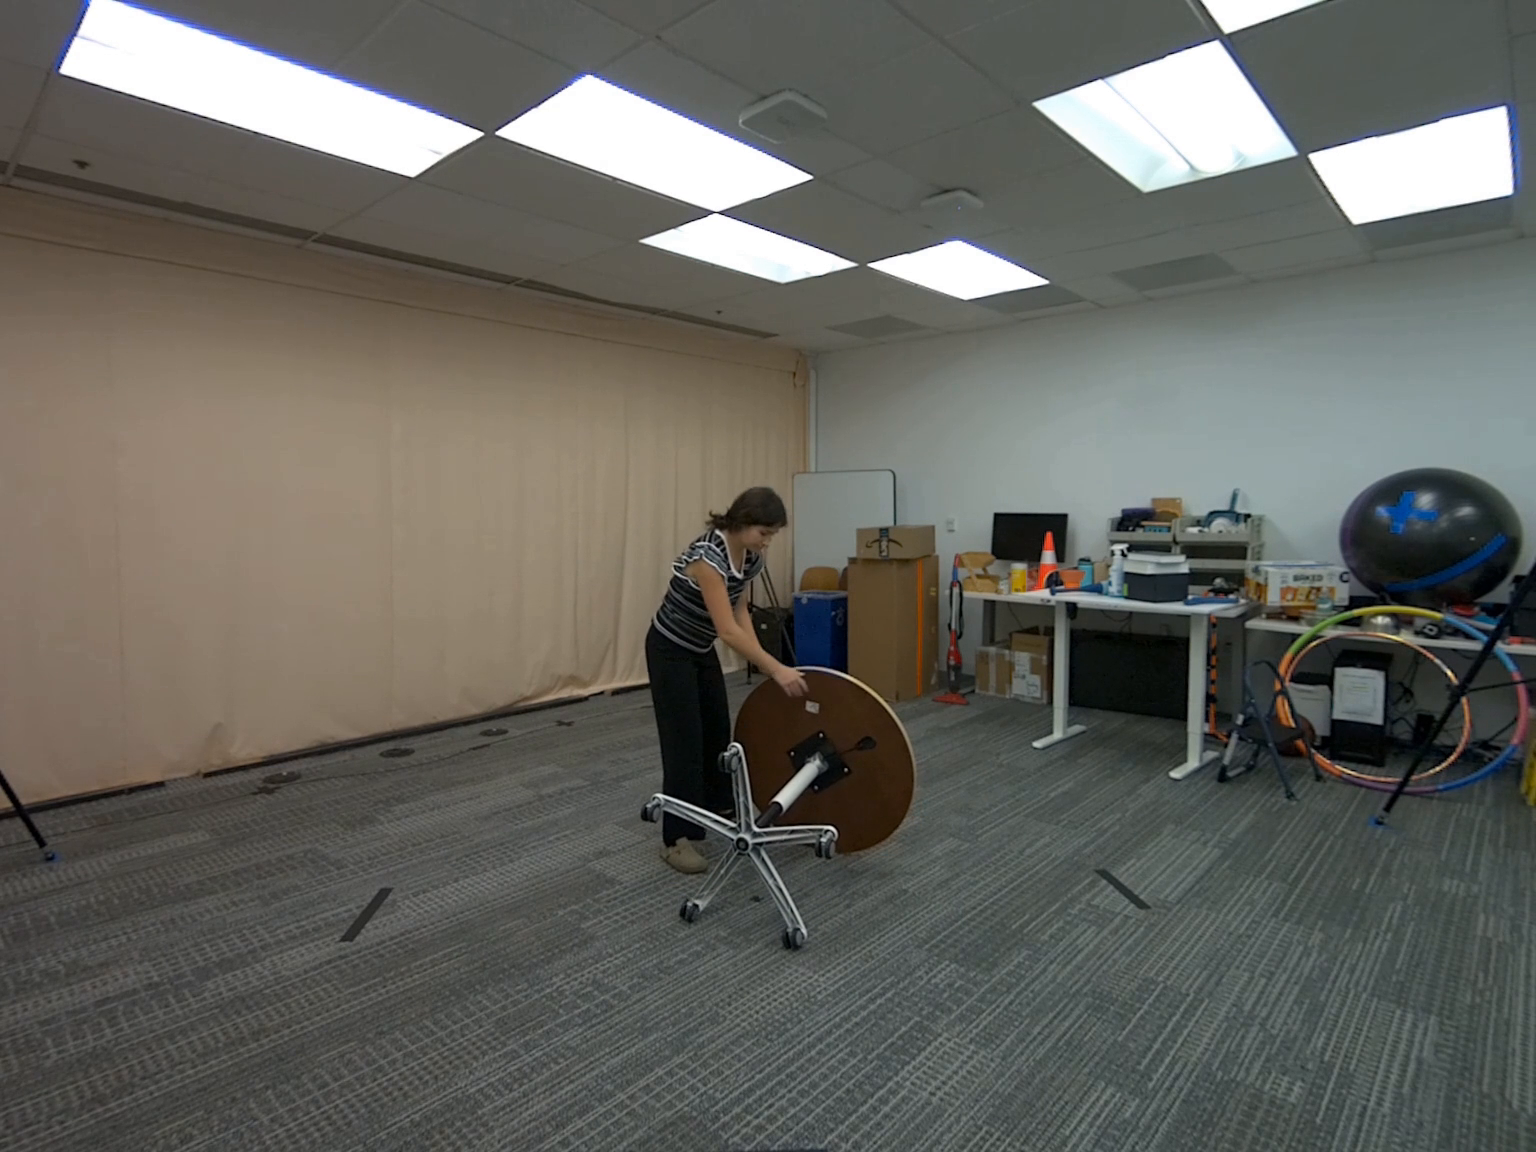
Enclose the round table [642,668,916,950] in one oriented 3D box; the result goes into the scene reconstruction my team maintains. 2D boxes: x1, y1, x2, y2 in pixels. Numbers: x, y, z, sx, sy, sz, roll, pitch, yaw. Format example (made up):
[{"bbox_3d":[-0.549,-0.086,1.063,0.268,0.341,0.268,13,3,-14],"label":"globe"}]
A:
[{"bbox_3d":[0.050,0.814,3.015,0.785,0.758,0.778,2,12,27],"label":"round table"}]
